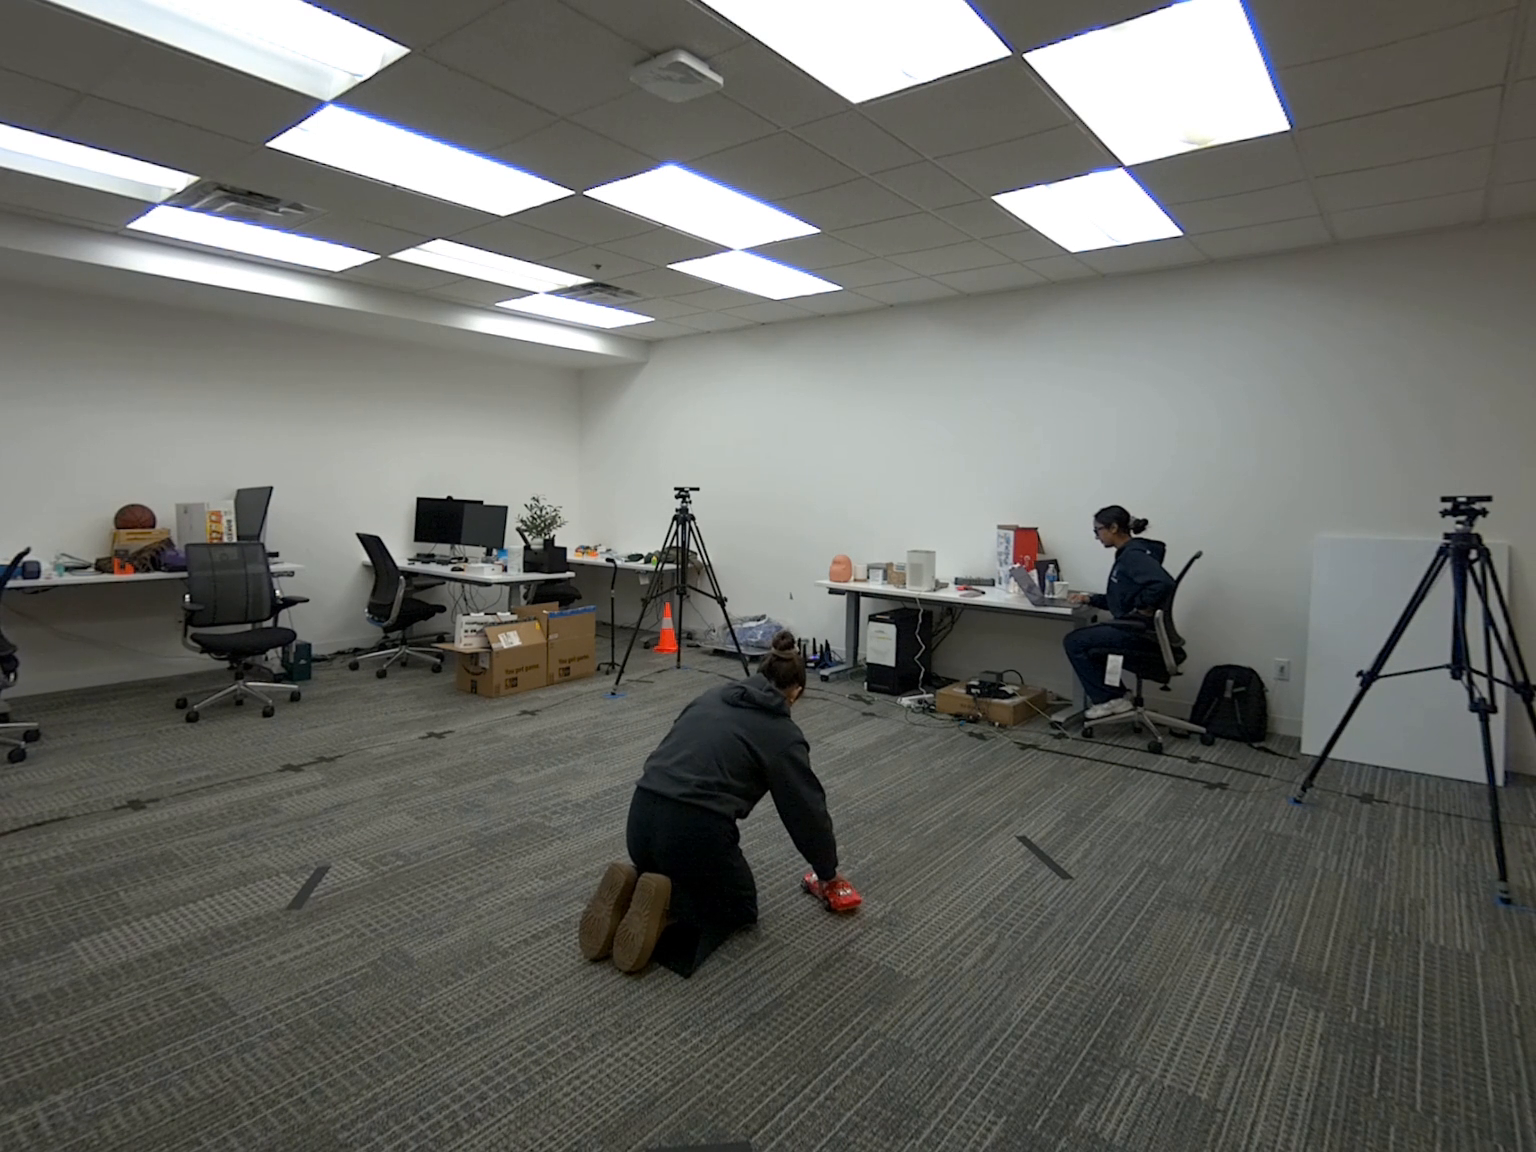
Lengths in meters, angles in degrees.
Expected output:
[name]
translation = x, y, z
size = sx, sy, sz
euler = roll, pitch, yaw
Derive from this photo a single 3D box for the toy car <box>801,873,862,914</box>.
[toy car]
translation = 0.219, 1.064, 2.878
size = 0.127, 0.083, 0.259
euler = -1, -4, -27
